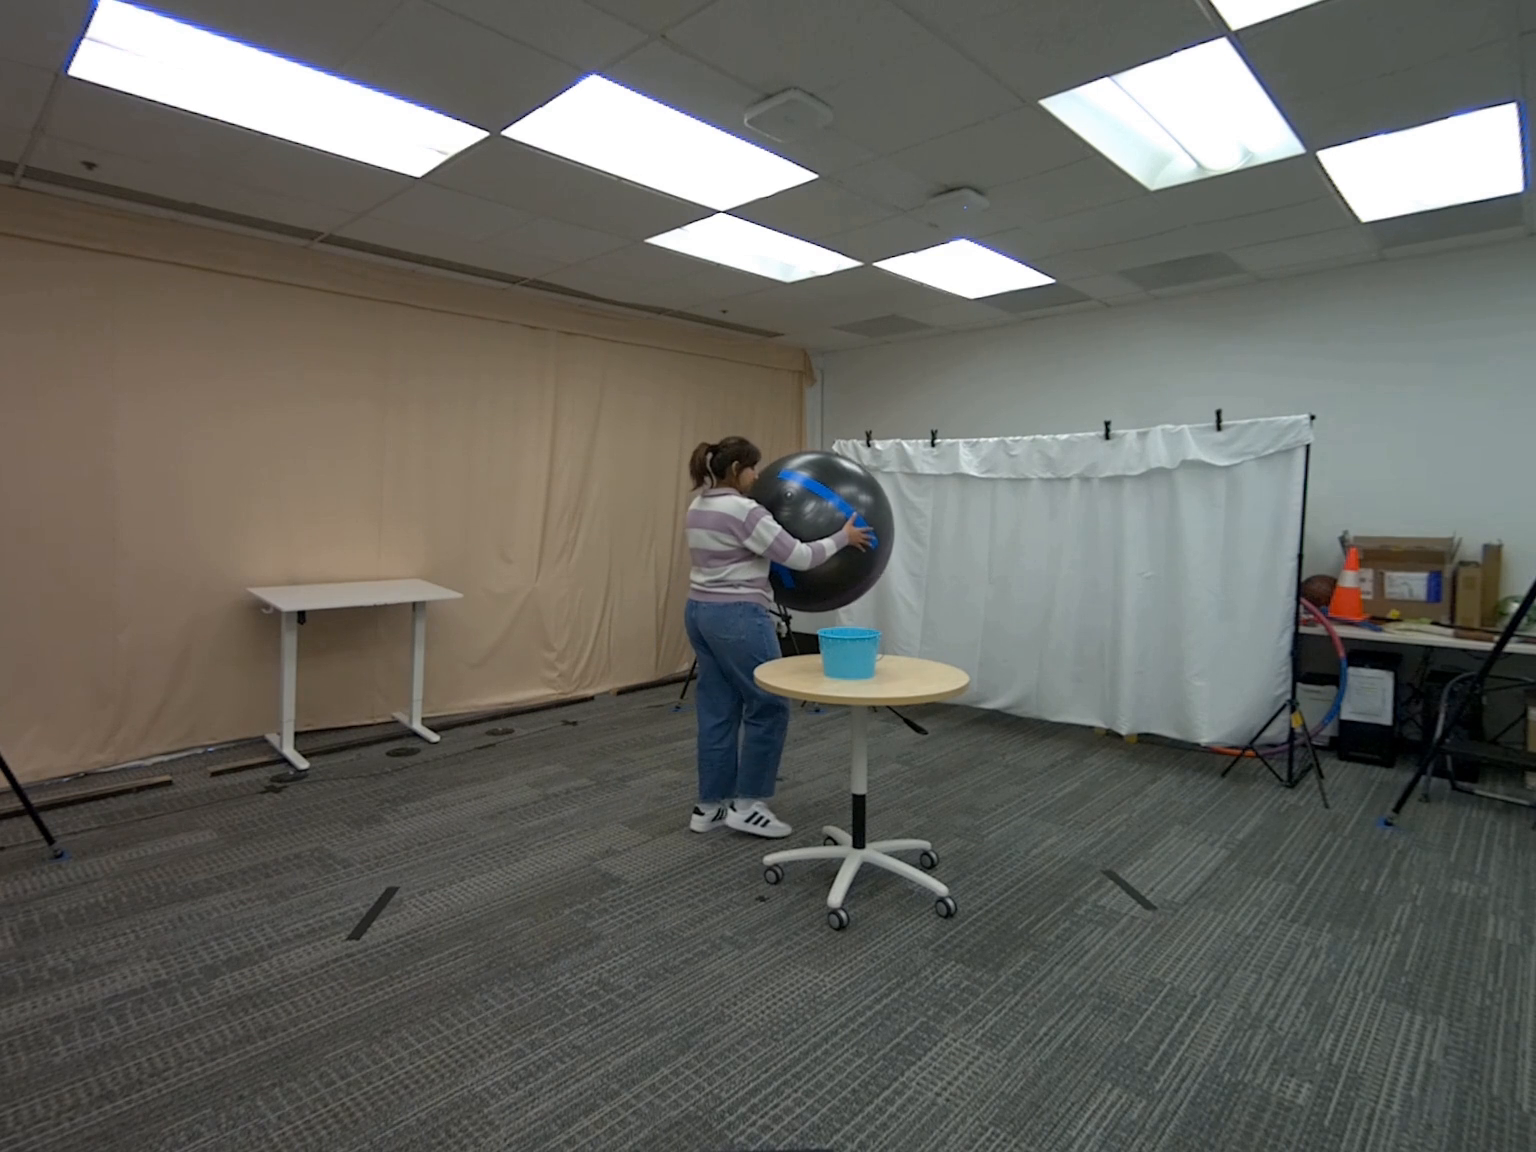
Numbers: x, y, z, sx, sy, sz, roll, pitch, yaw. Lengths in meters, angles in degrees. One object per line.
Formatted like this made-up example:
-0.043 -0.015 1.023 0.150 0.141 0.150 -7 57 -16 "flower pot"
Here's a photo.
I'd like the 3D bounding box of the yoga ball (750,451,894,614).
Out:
0.222 -0.202 3.990 0.757 0.756 0.760 0 4 -2 "yoga ball"
